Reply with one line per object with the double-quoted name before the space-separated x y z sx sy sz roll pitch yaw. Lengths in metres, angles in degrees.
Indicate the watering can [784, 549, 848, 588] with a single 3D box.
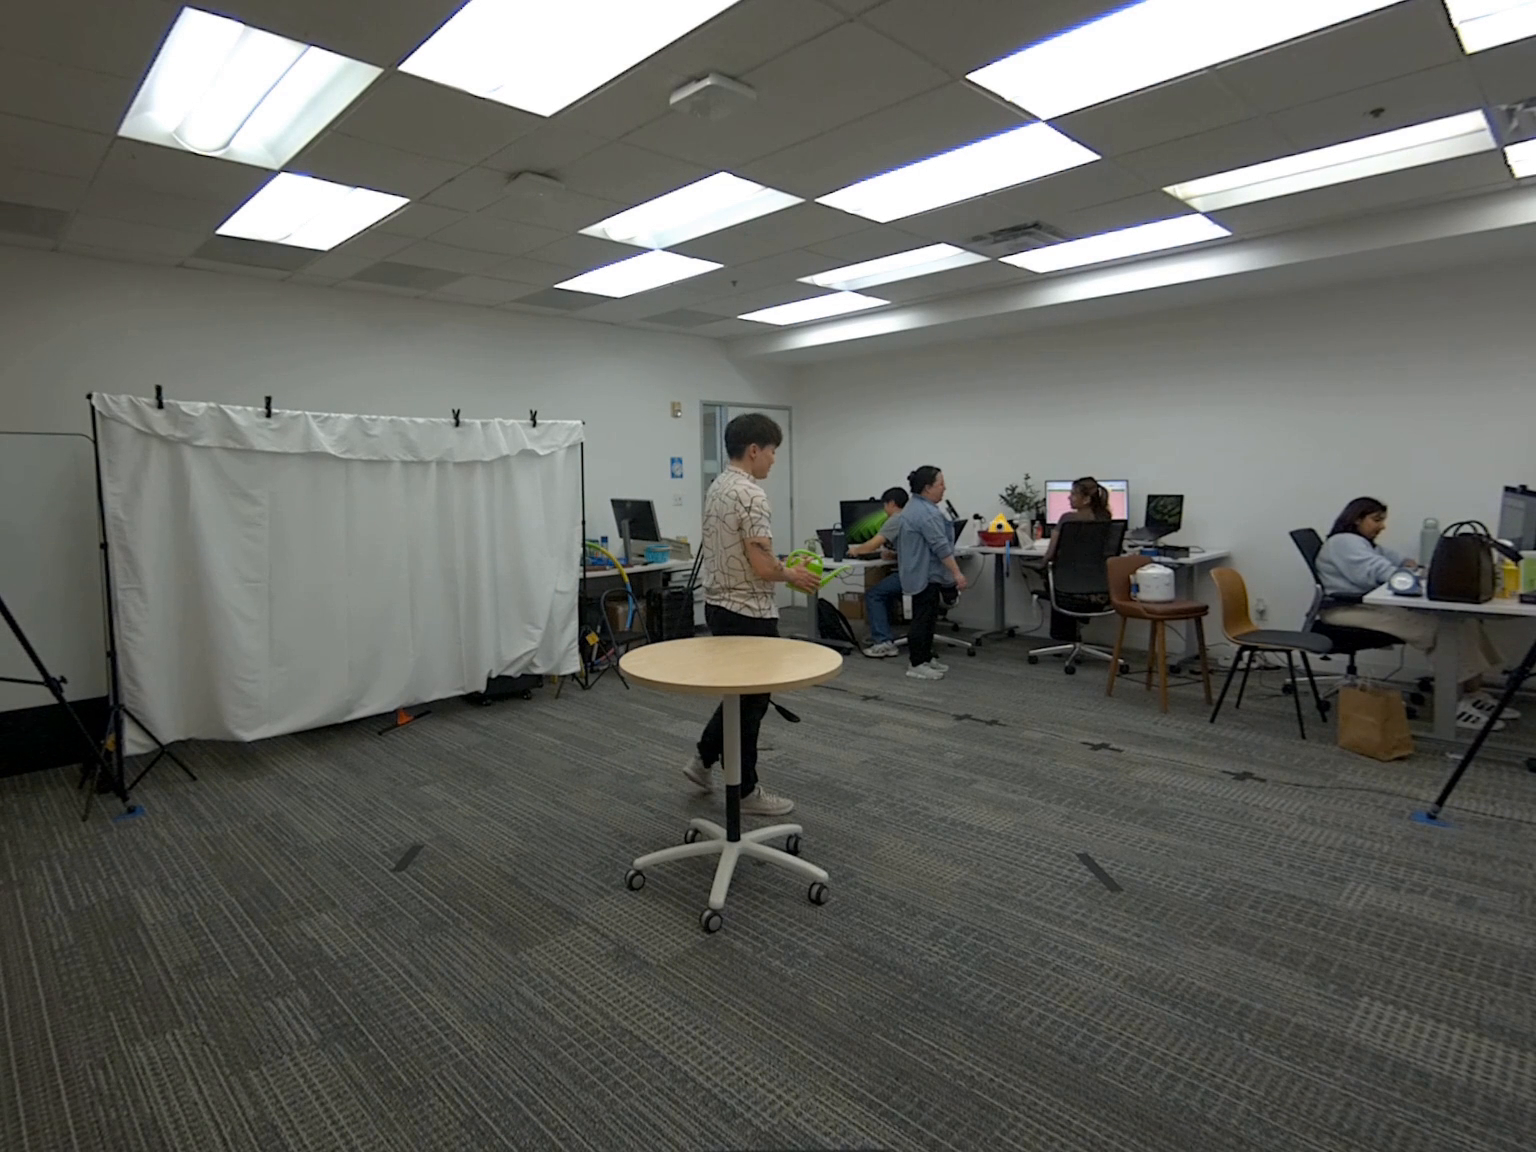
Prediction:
"watering can" 0.201 -0.001 3.629 0.279 0.177 0.098 19 0 2
